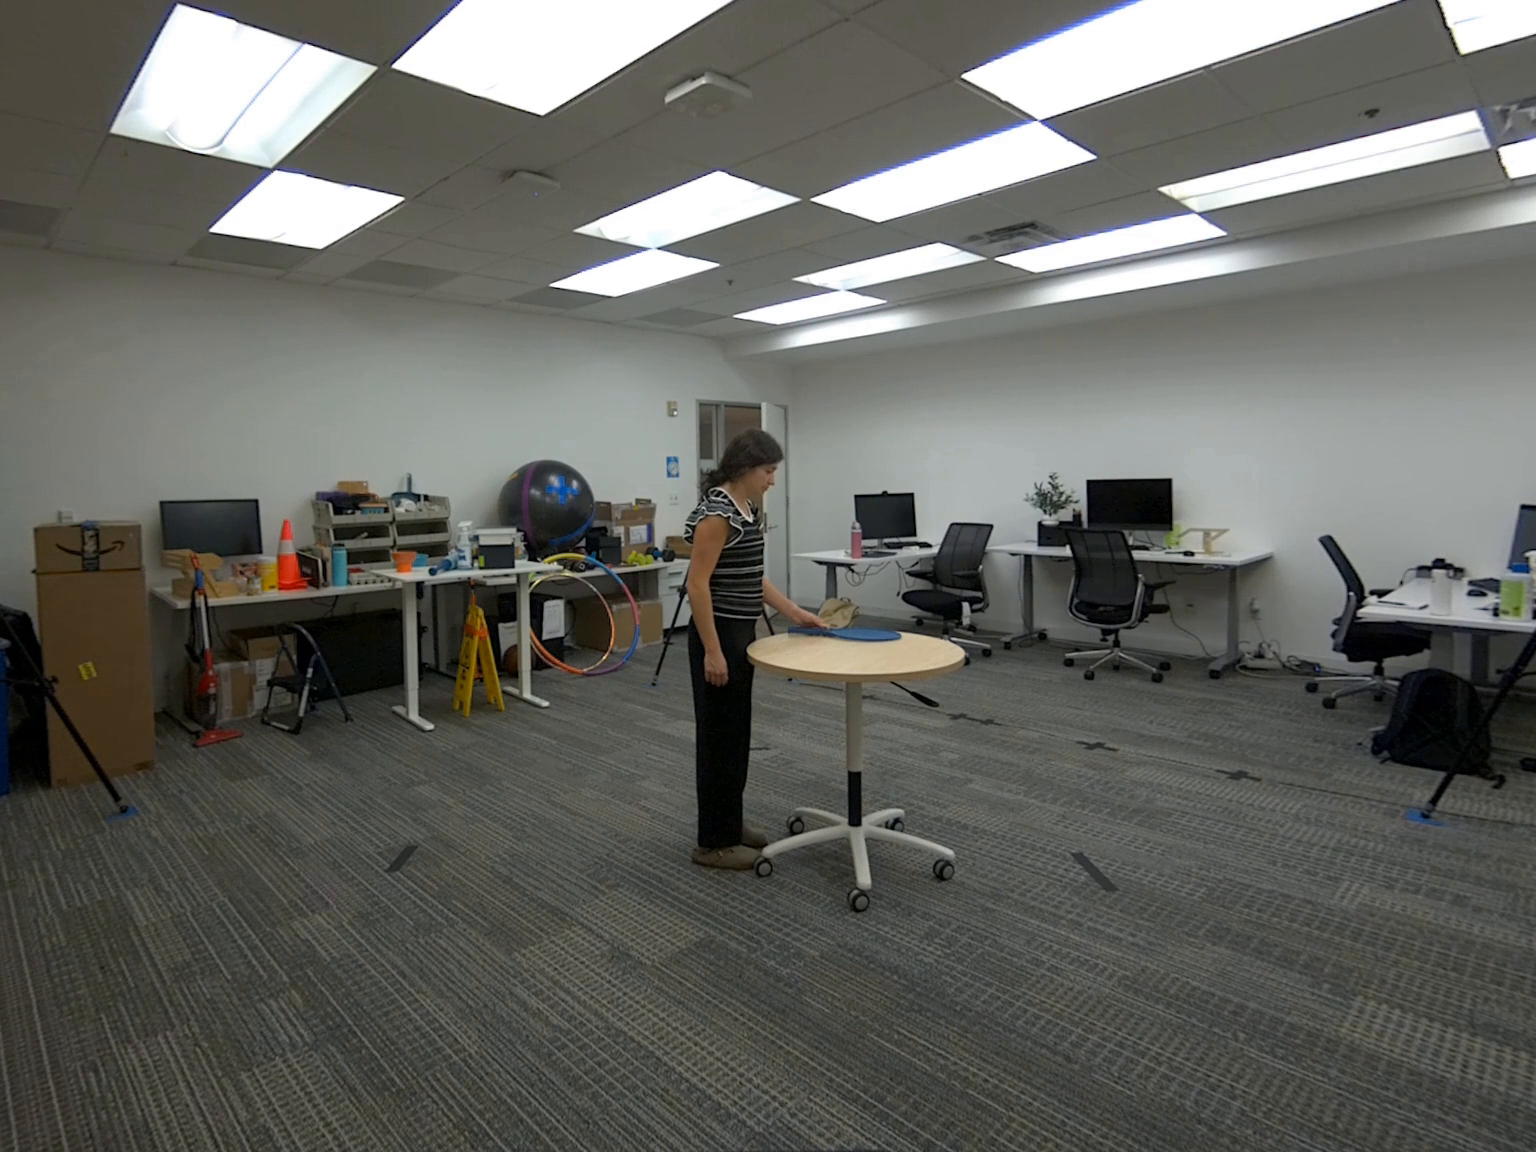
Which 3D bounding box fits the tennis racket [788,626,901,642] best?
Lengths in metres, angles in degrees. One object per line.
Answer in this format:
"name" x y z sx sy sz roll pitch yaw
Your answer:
"tennis racket" 0.291 0.220 3.292 0.435 0.031 0.214 2 7 4
